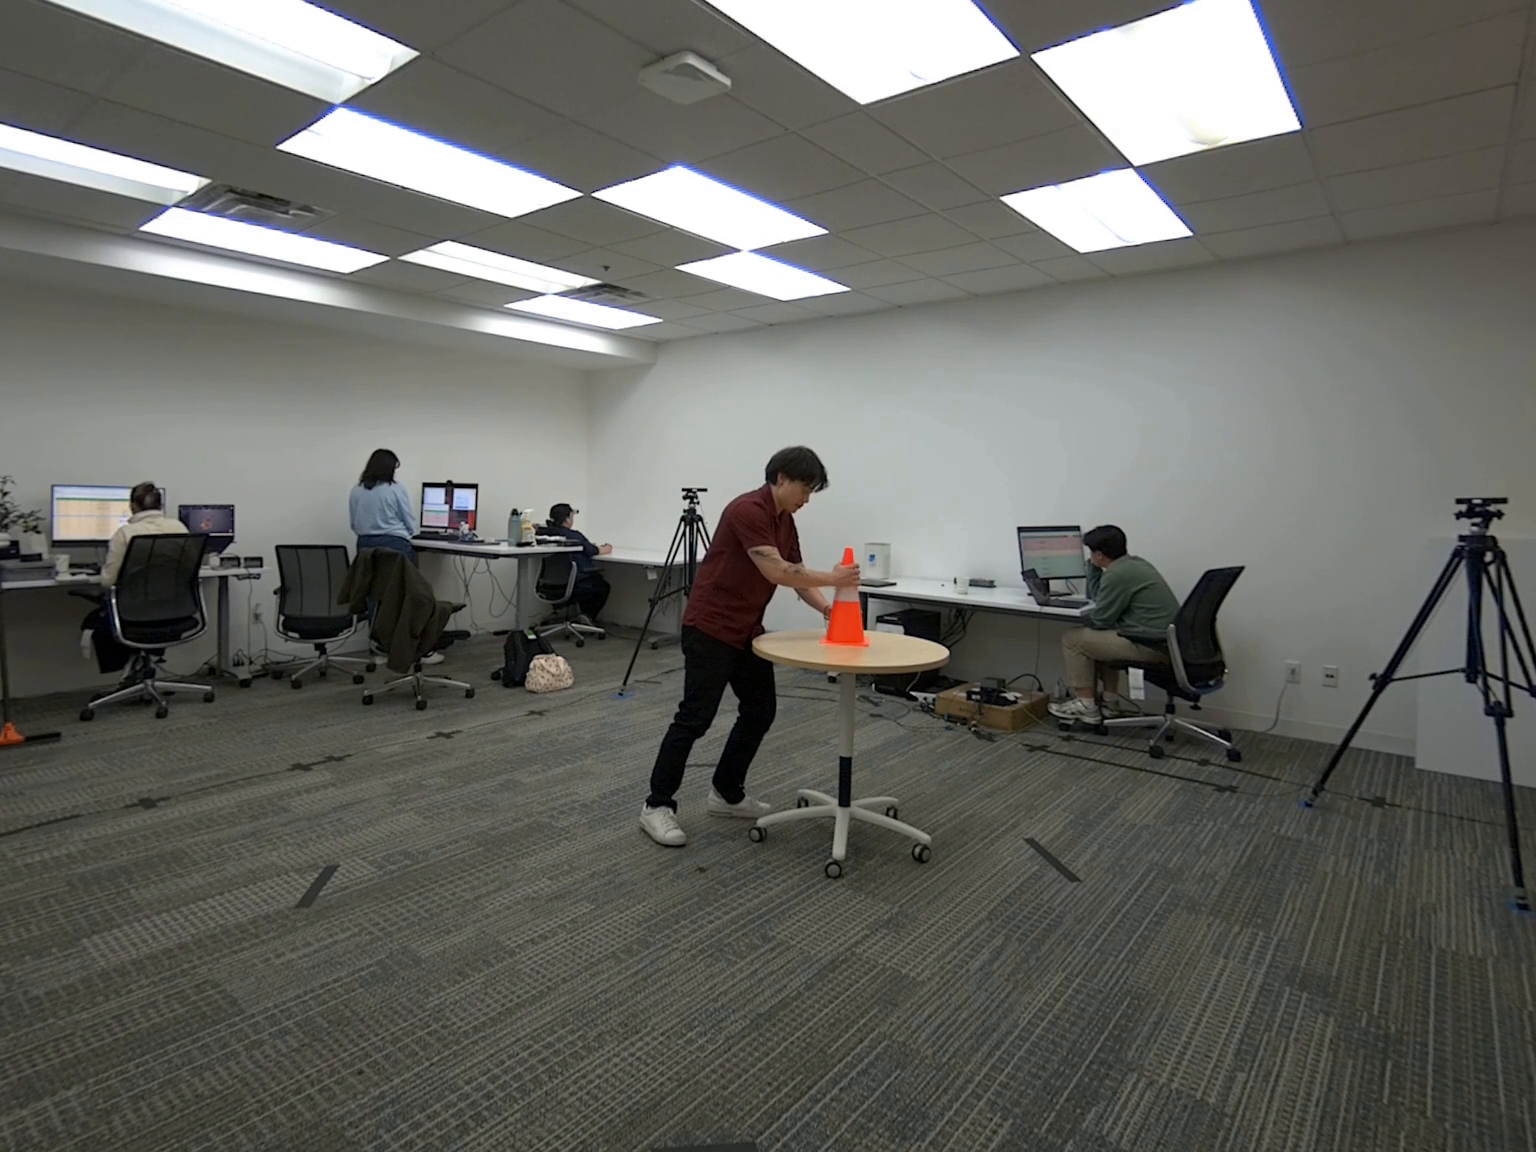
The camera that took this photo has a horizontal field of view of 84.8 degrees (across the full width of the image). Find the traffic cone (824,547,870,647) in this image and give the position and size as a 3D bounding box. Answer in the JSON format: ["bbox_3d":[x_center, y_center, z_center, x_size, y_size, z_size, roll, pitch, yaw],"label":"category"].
[{"bbox_3d":[0.315,0.074,3.461,0.205,0.382,0.204,2,5,2],"label":"traffic cone"}]
